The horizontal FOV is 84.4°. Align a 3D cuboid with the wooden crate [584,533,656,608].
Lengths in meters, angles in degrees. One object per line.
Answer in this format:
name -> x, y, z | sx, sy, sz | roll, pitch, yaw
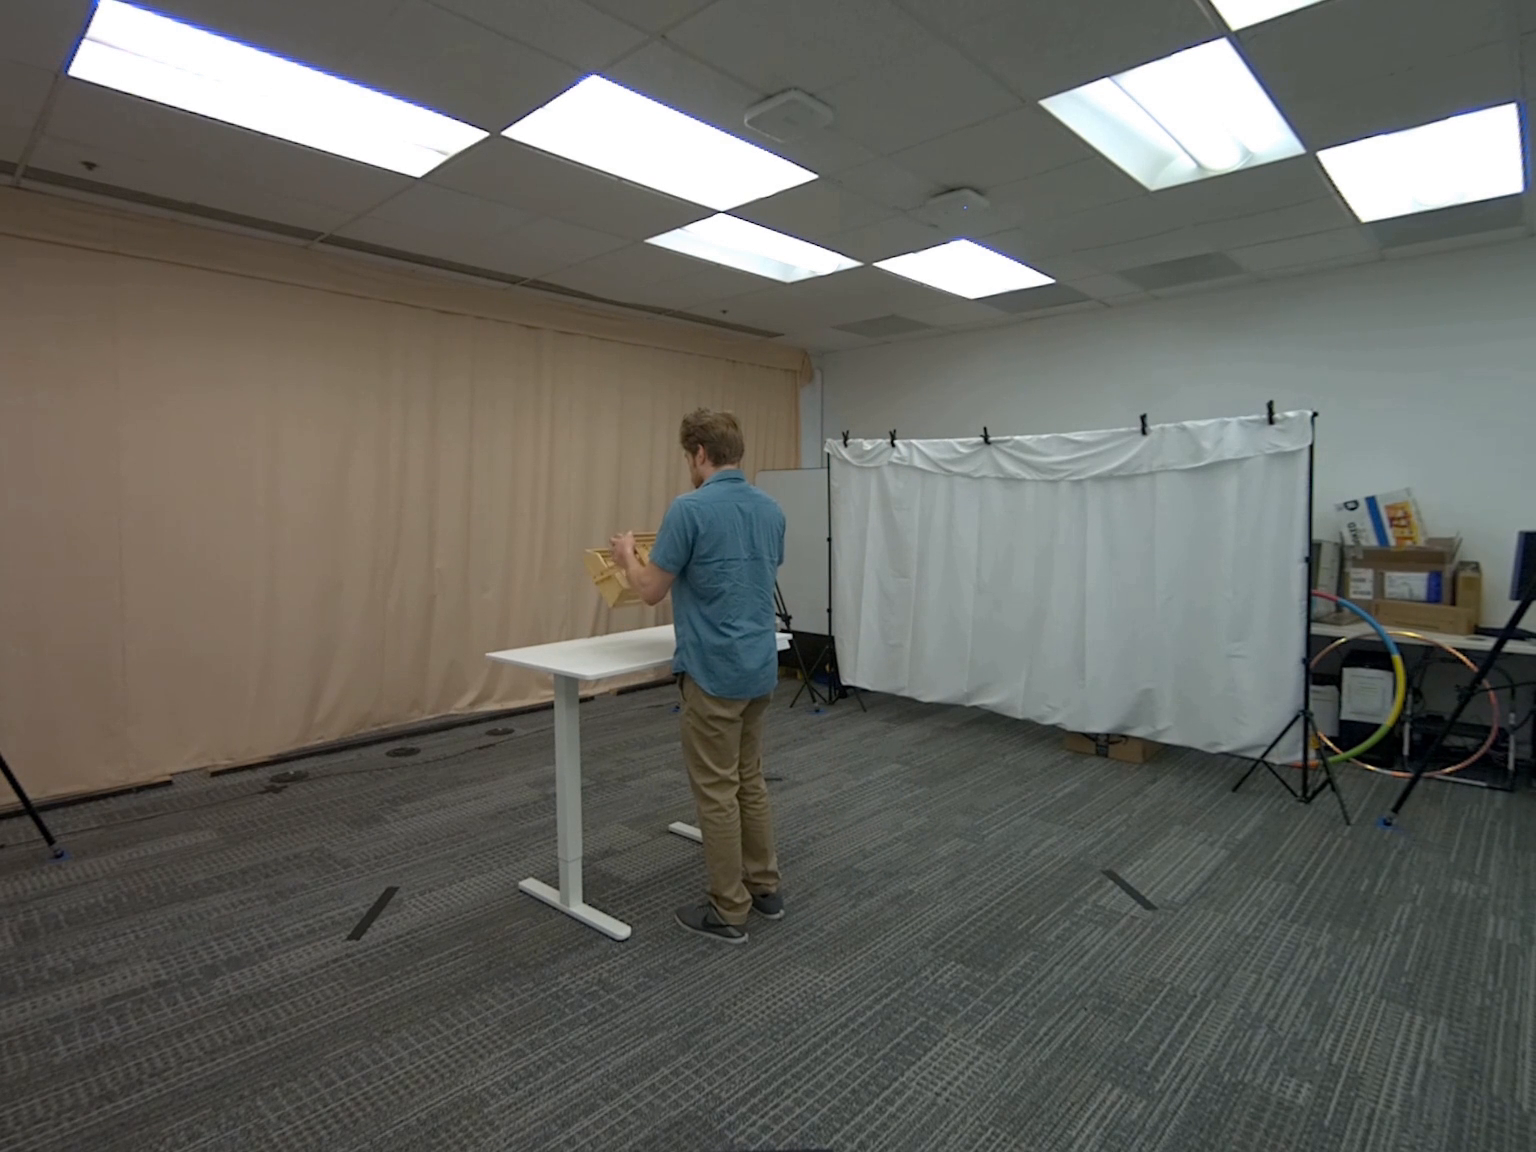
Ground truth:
wooden crate -> -0.445, -0.053, 3.061 | 0.315, 0.274, 0.310 | -5, 50, -46
